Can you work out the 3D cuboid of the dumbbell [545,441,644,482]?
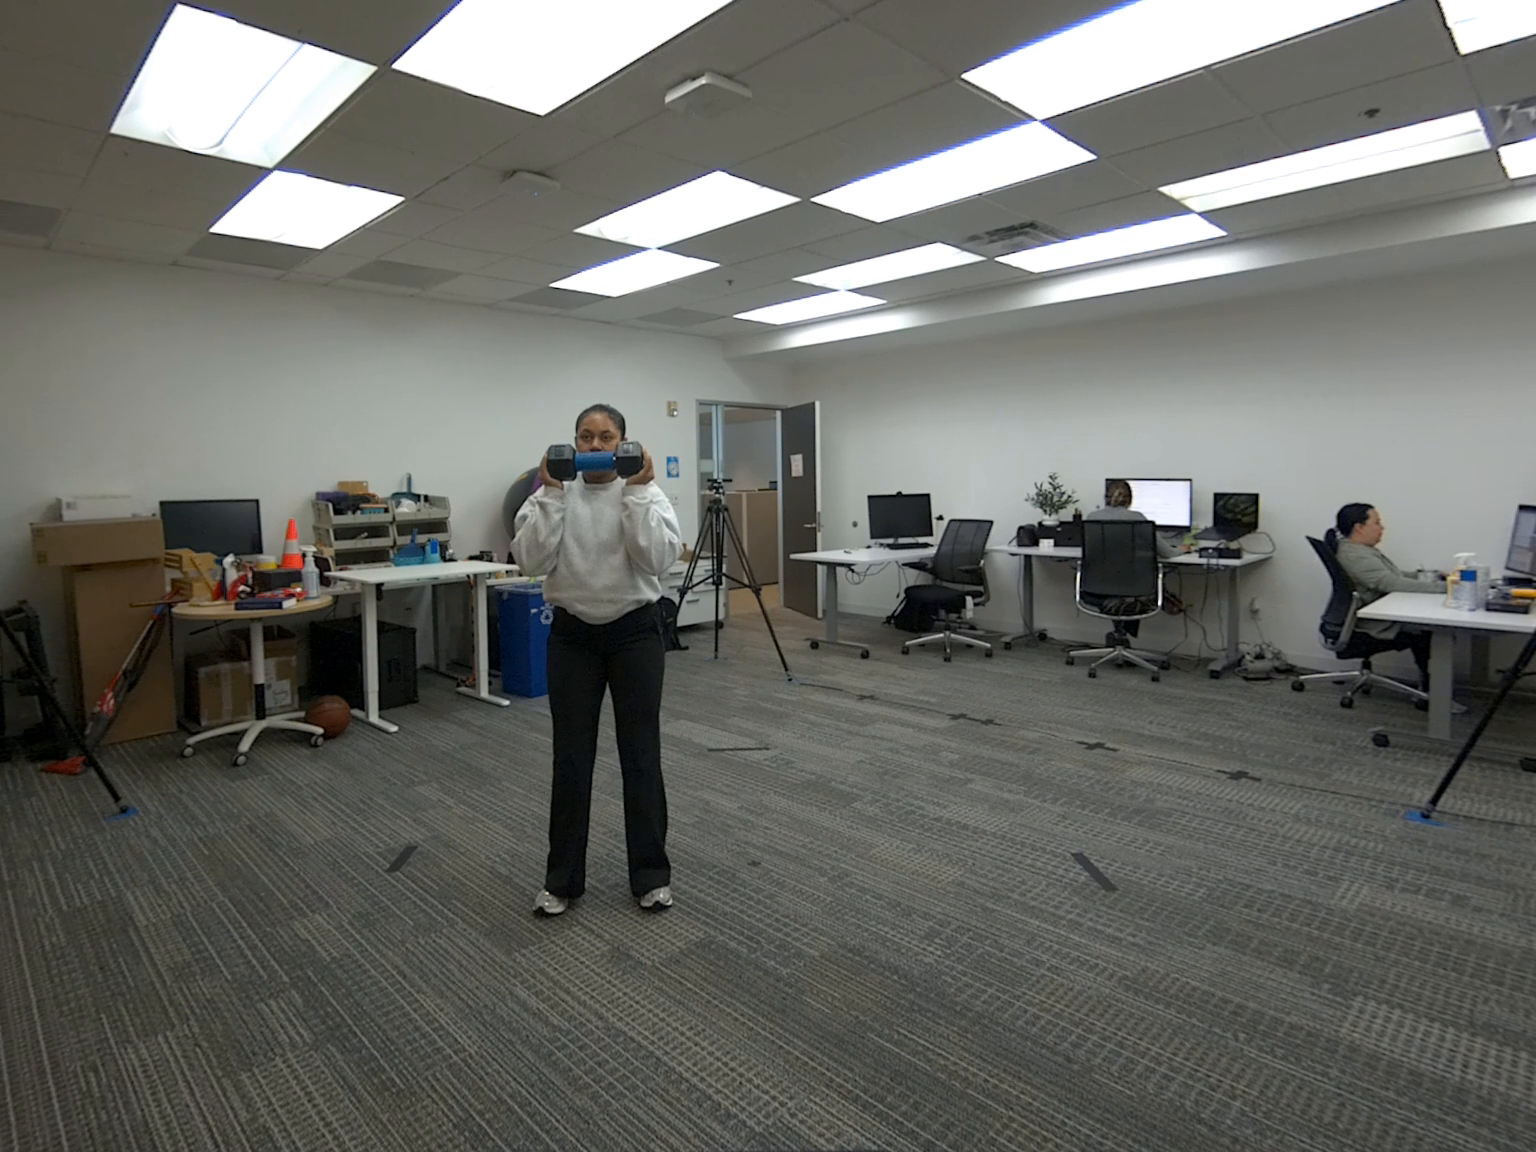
[{"bbox_3d":[-0.541,-0.342,2.679,0.294,0.126,0.105,-1,-40,1],"label":"dumbbell"}]
